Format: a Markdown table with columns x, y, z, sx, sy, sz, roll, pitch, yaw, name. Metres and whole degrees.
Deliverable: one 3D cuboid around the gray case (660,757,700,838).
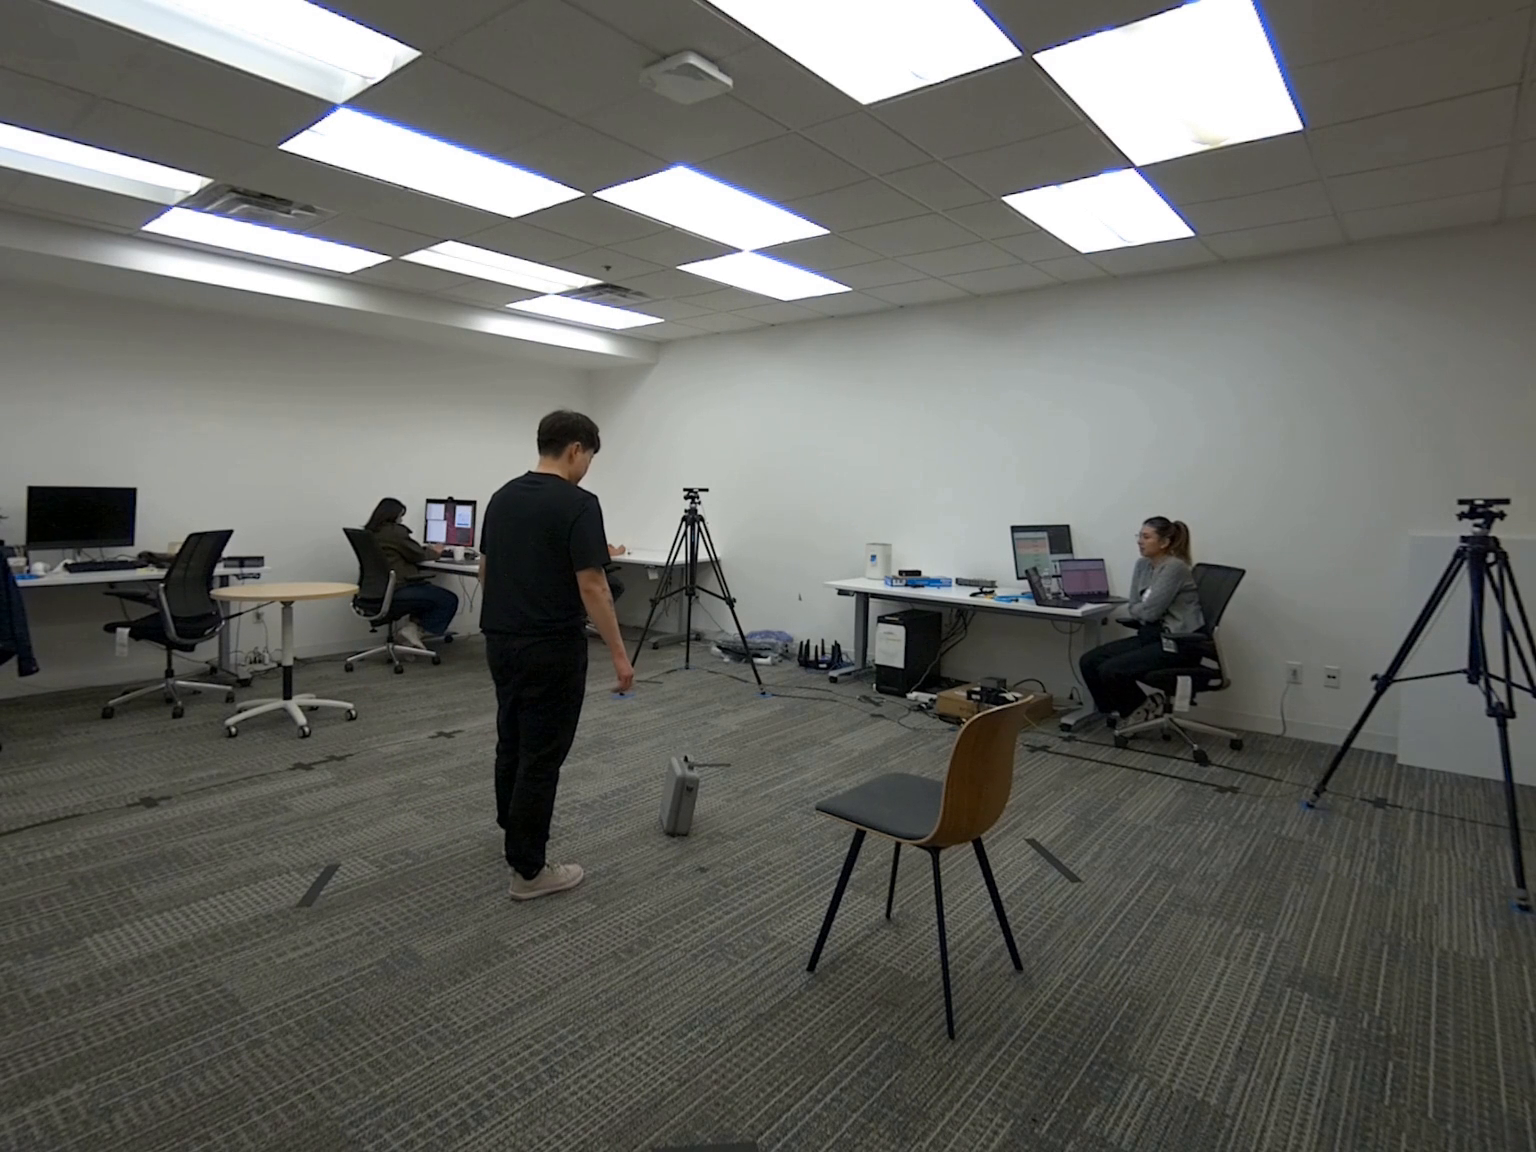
| x | y | z | sx | sy | sz | roll | pitch | yaw | name |
| --- | --- | --- | --- | --- | --- | --- | --- | --- | --- |
| -0.374 | 0.893 | 3.513 | 0.103 | 0.260 | 0.261 | 8 | 4 | -13 | gray case |
